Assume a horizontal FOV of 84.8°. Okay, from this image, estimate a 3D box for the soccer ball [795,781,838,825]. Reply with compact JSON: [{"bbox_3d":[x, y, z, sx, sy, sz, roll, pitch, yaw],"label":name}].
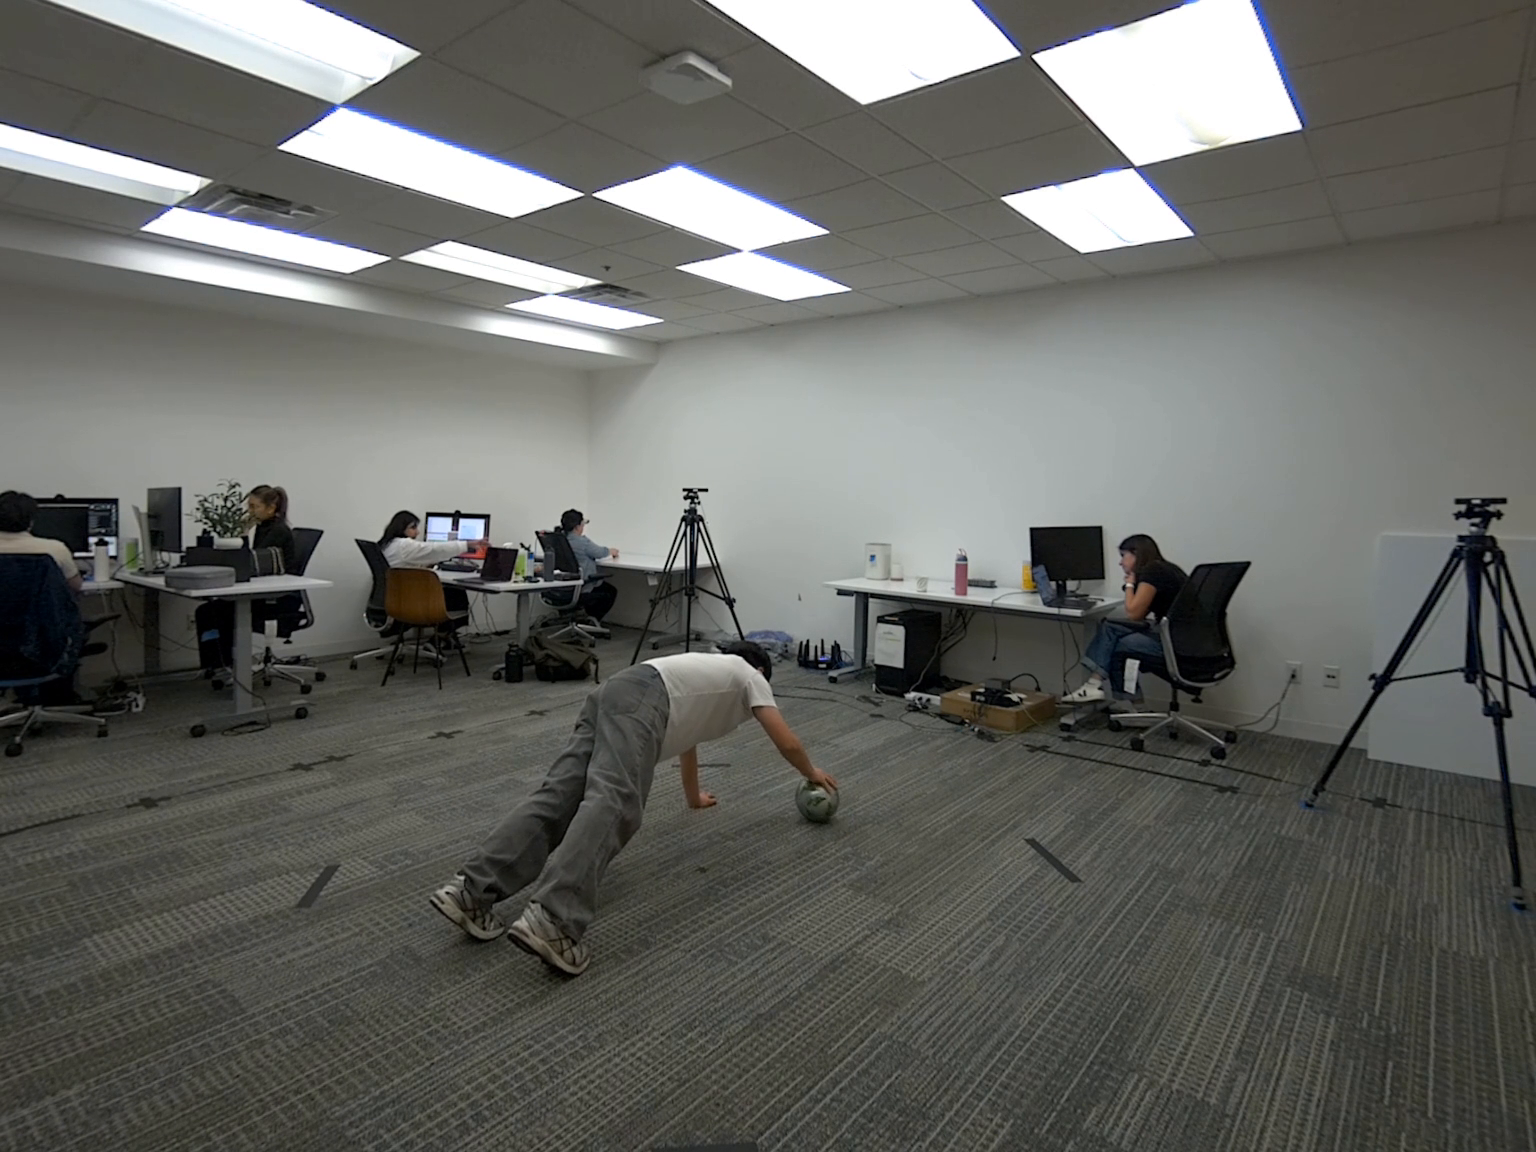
[{"bbox_3d":[0.197,0.936,3.609,0.187,0.187,0.188,1,4,-2],"label":"soccer ball"}]
